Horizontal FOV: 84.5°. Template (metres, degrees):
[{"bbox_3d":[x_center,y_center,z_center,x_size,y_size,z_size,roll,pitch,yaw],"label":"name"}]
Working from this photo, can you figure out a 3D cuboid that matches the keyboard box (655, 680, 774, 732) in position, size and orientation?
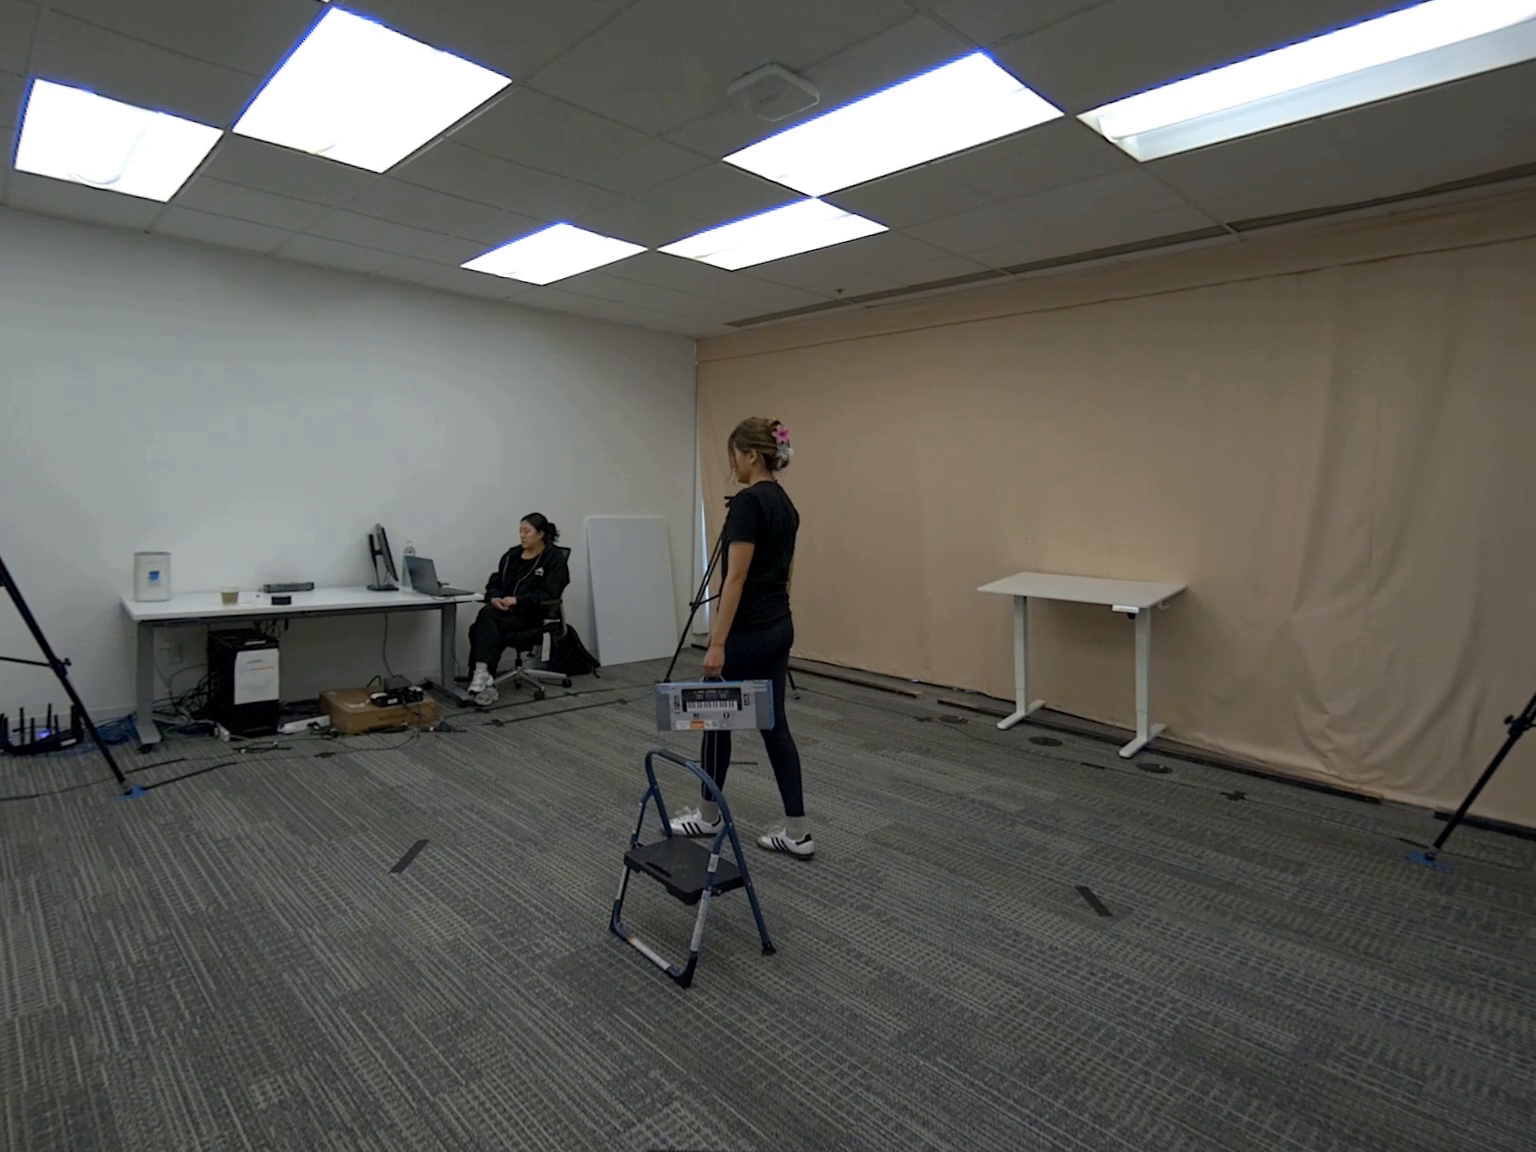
[{"bbox_3d":[-0.208,0.475,3.113,0.441,0.176,0.058,-3,-1,12],"label":"keyboard box"}]
